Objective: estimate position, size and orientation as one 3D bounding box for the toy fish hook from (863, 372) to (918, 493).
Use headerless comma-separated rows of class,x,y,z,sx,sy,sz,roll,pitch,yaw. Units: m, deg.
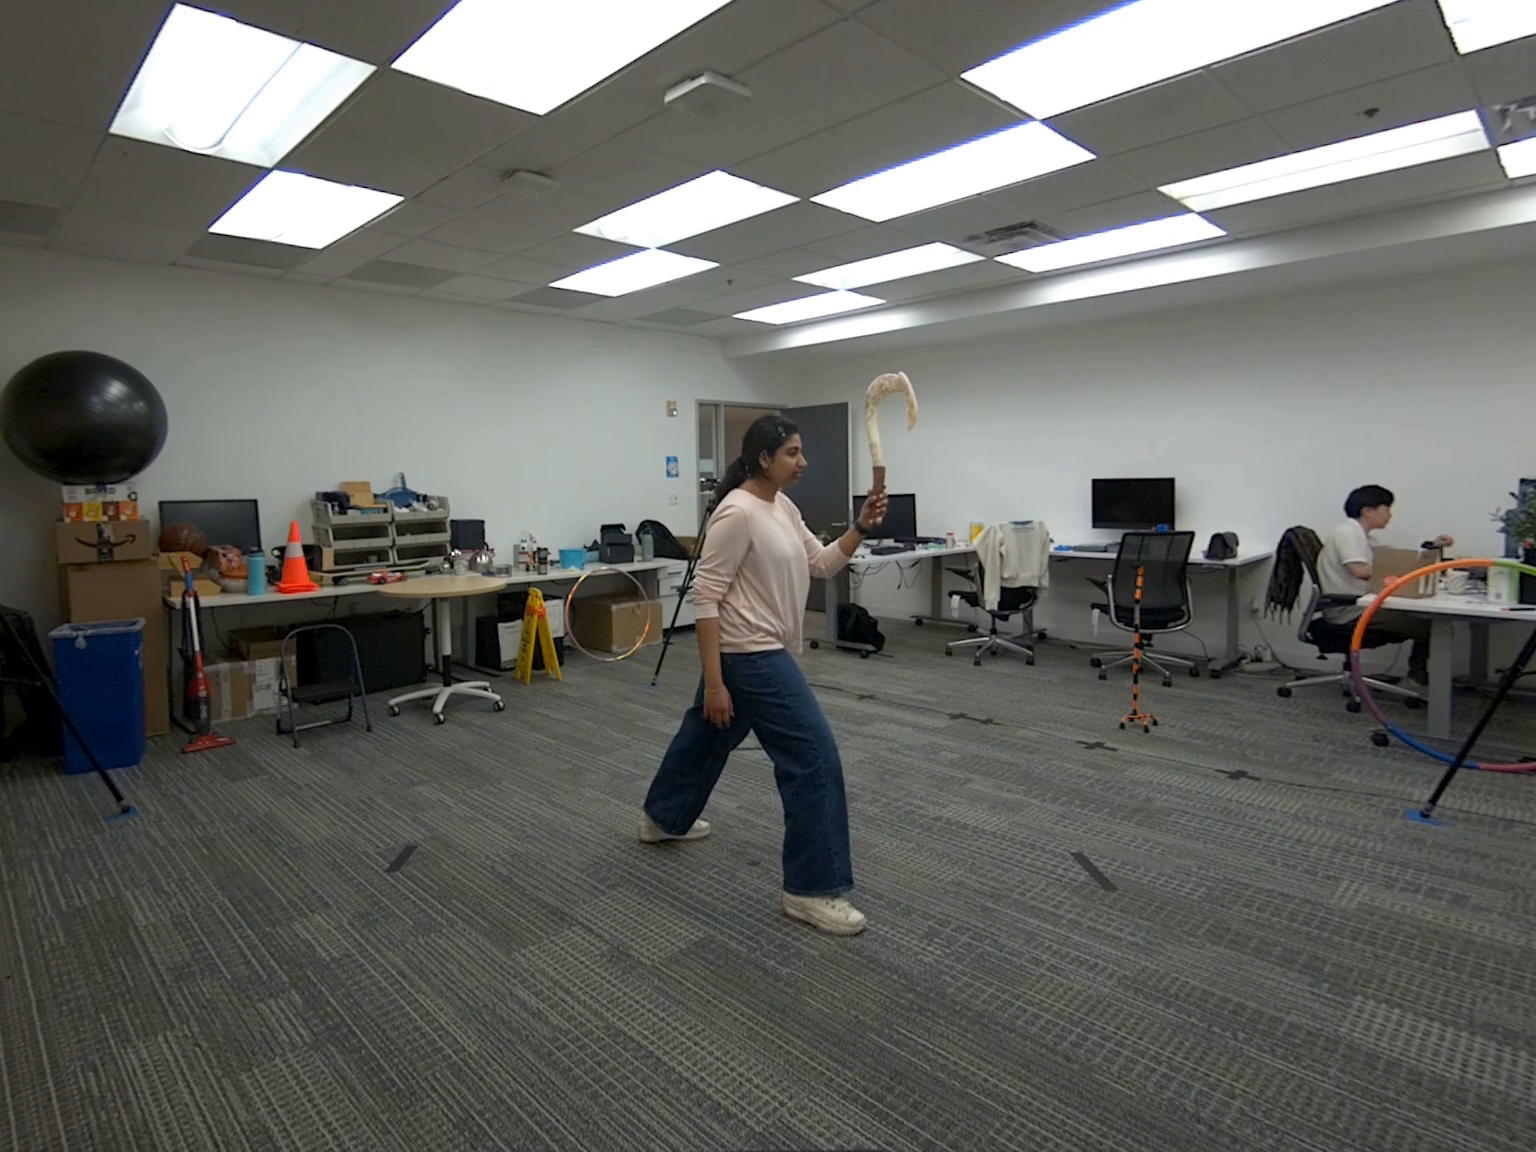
toy fish hook,0.405,-0.418,2.843,0.047,0.506,0.231,1,2,-37
